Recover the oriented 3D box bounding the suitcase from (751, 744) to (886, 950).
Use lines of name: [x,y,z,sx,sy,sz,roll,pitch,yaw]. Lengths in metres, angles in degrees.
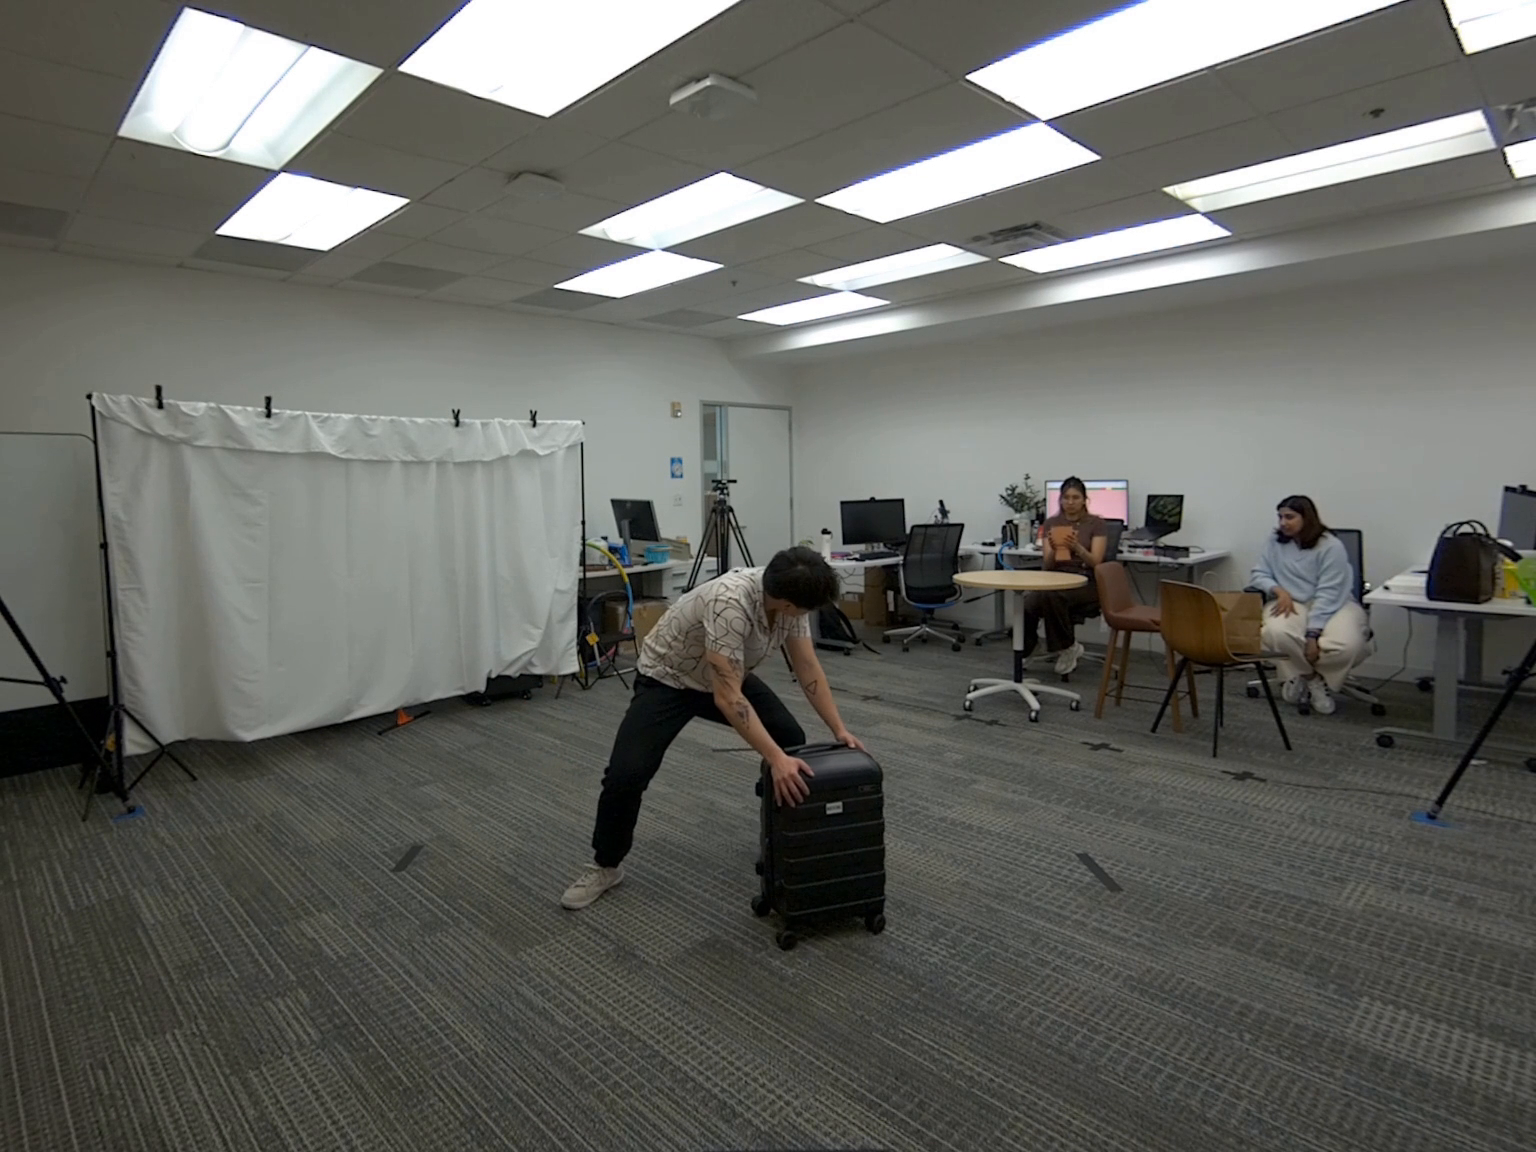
suitcase: [0.175,0.816,2.691,0.369,0.548,0.253,-1,3,-18]
